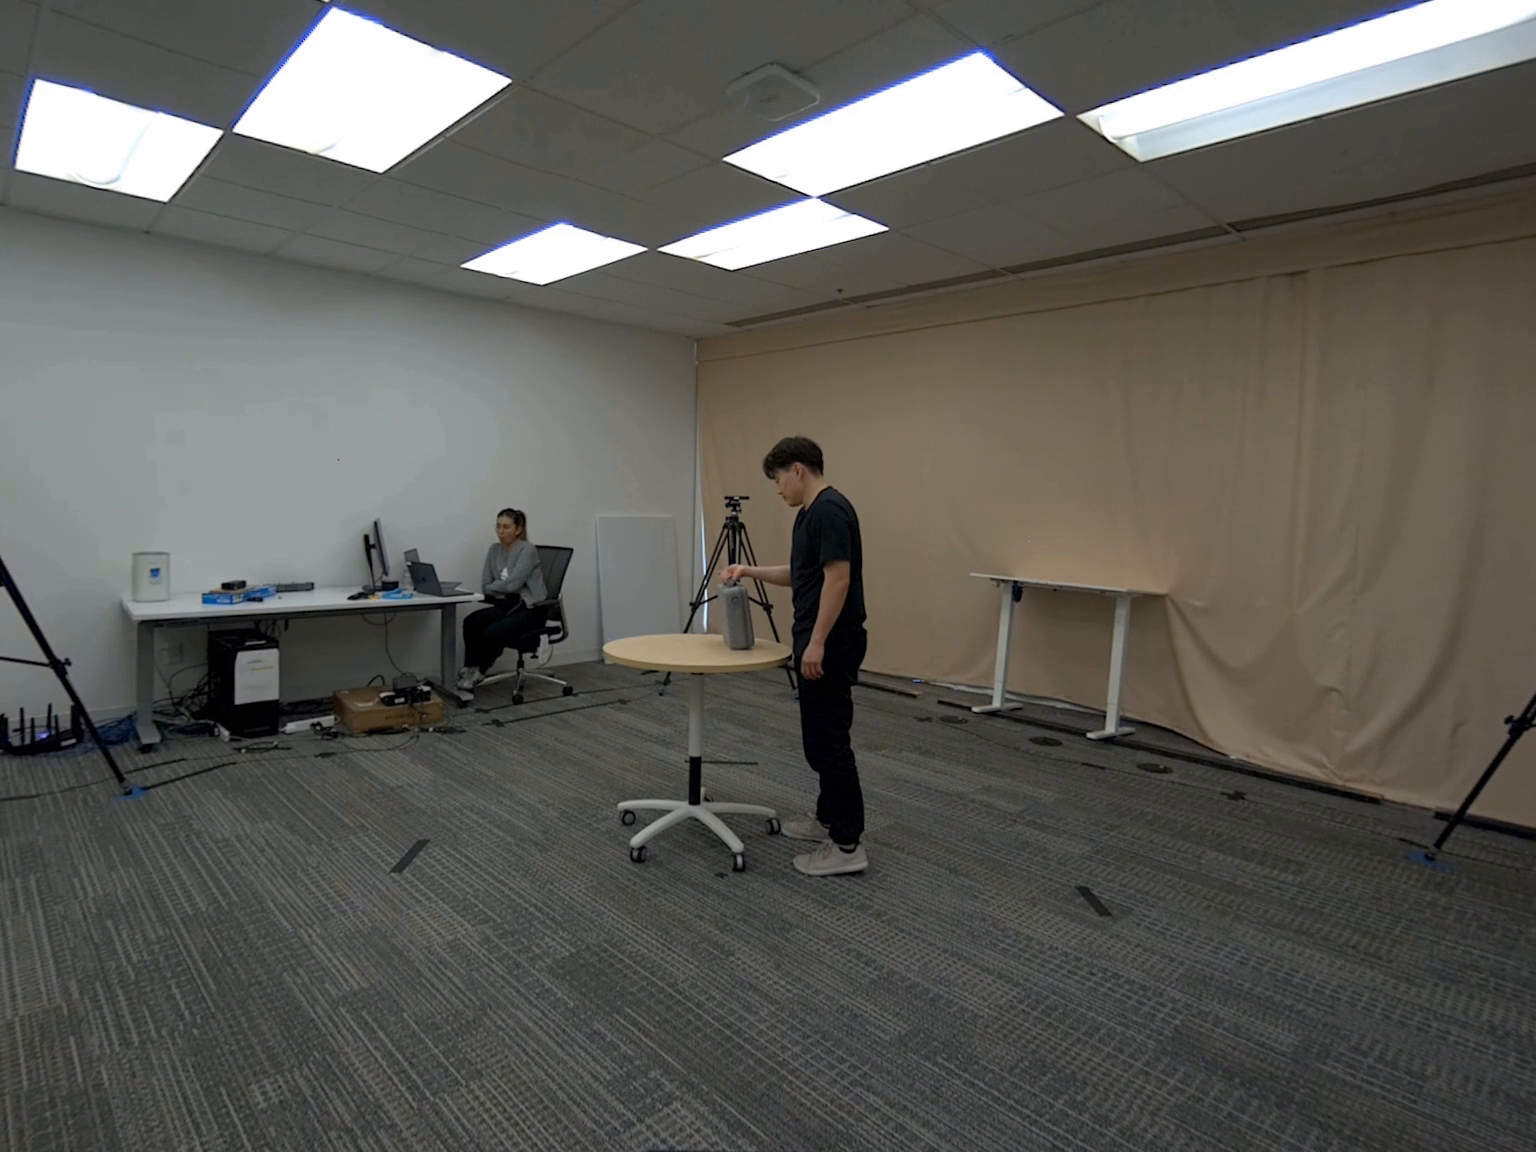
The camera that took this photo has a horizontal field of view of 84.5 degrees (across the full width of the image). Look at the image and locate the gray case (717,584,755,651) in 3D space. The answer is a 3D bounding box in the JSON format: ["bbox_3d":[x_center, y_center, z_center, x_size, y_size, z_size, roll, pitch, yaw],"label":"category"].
[{"bbox_3d":[-0.139,0.157,3.490,0.104,0.259,0.259,-7,5,-9],"label":"gray case"}]
